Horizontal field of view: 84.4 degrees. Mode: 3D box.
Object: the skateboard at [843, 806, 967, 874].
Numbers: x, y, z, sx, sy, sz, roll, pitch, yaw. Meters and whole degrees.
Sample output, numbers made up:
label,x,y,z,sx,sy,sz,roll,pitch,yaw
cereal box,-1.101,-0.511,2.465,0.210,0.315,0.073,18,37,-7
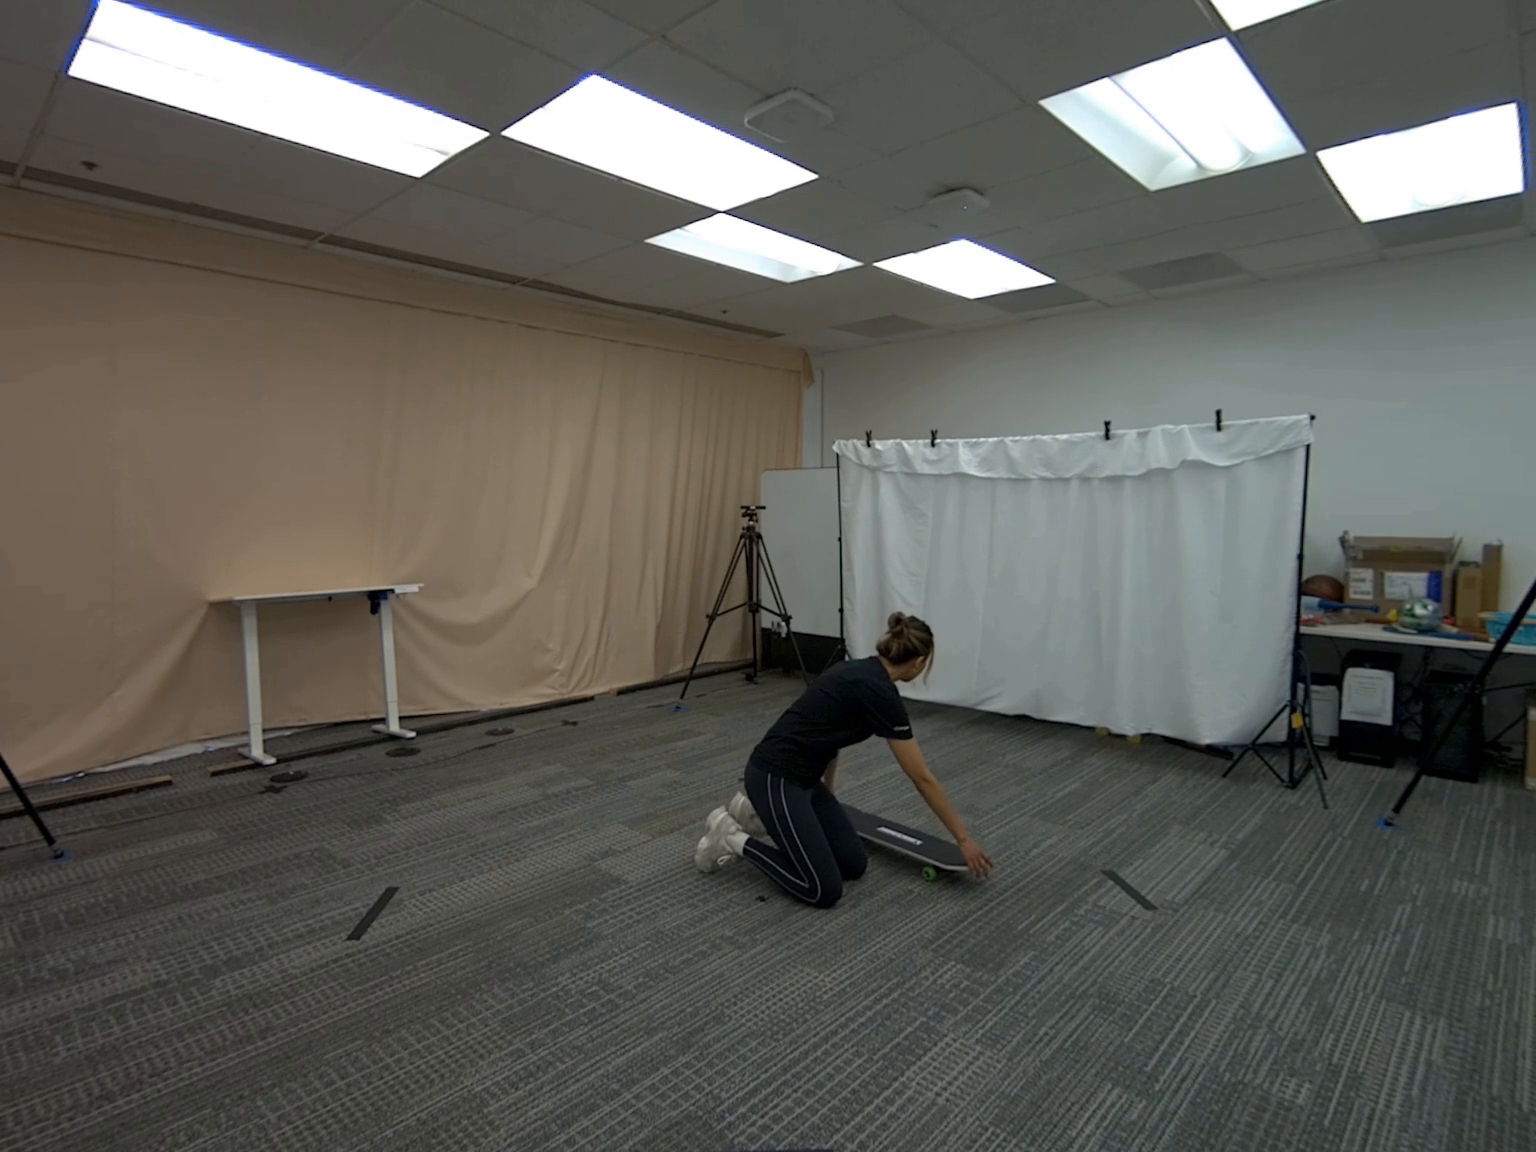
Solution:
label,x,y,z,sx,sy,sz,roll,pitch,yaw
skateboard,0.523,1.059,3.325,0.187,0.110,0.812,-3,6,-43
